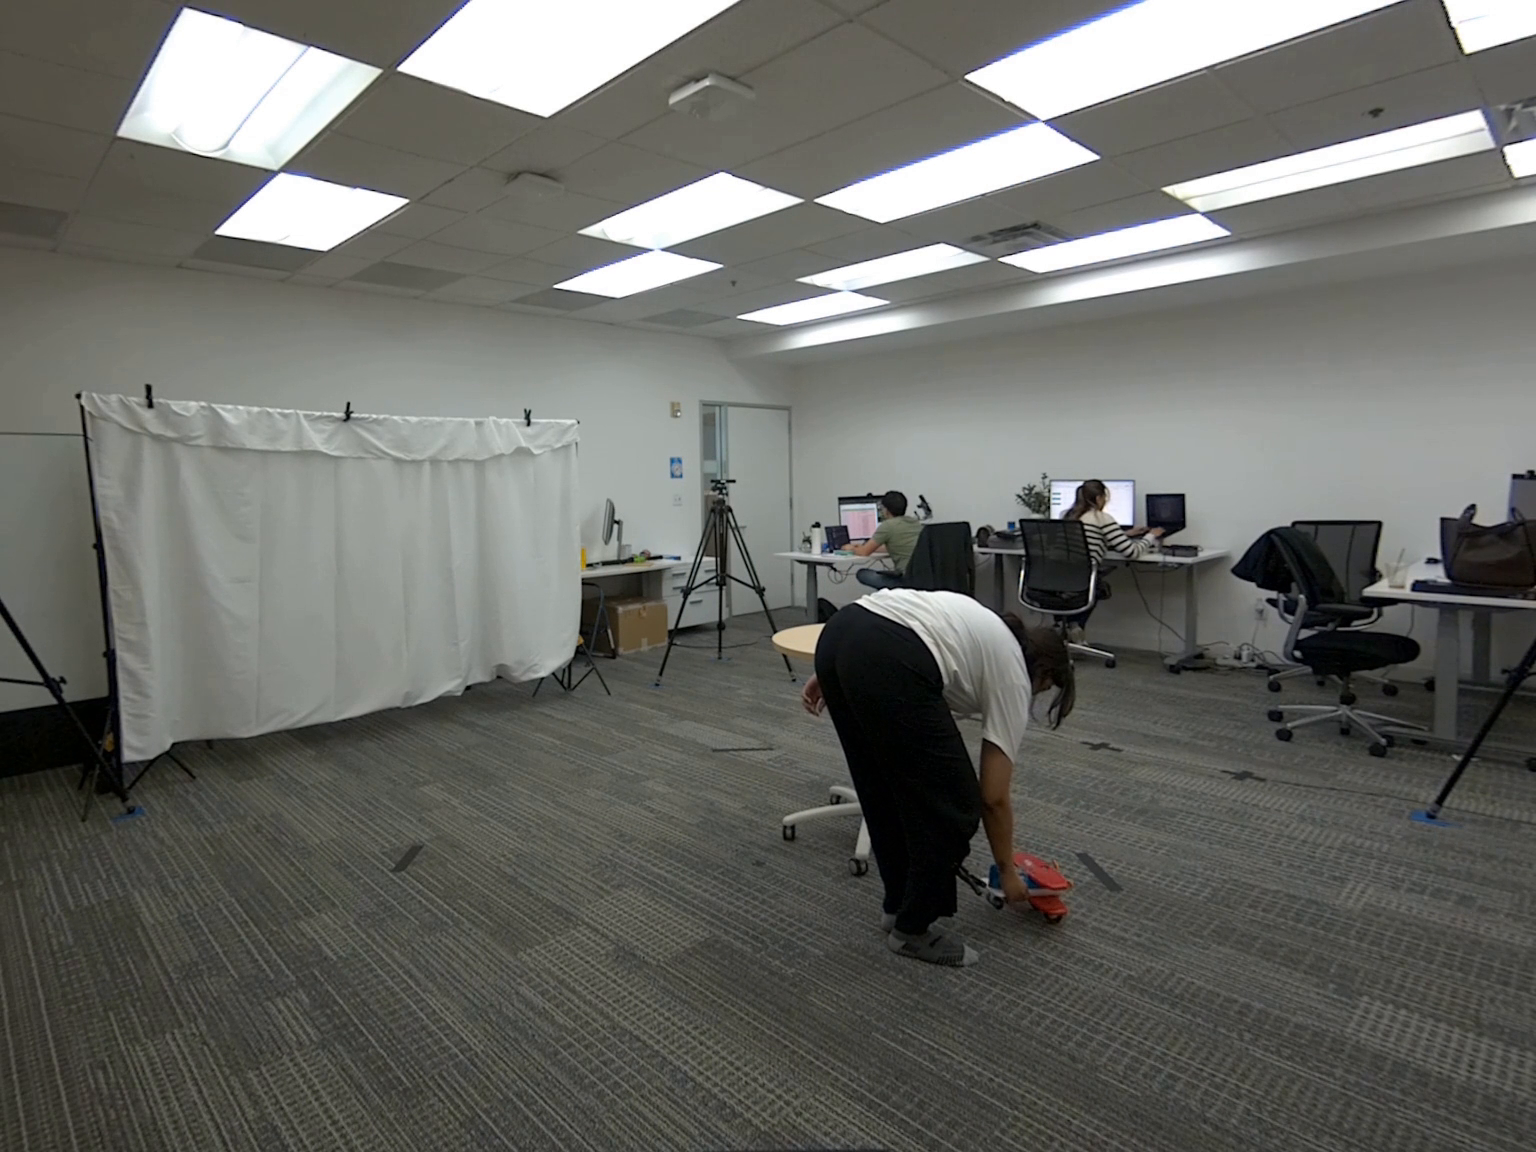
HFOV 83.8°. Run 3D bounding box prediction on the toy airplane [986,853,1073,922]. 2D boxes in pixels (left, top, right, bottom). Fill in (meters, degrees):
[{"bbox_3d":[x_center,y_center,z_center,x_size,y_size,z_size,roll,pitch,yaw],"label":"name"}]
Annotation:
[{"bbox_3d":[0.829,0.986,2.672,0.250,0.156,0.260,14,0,-41],"label":"toy airplane"}]
